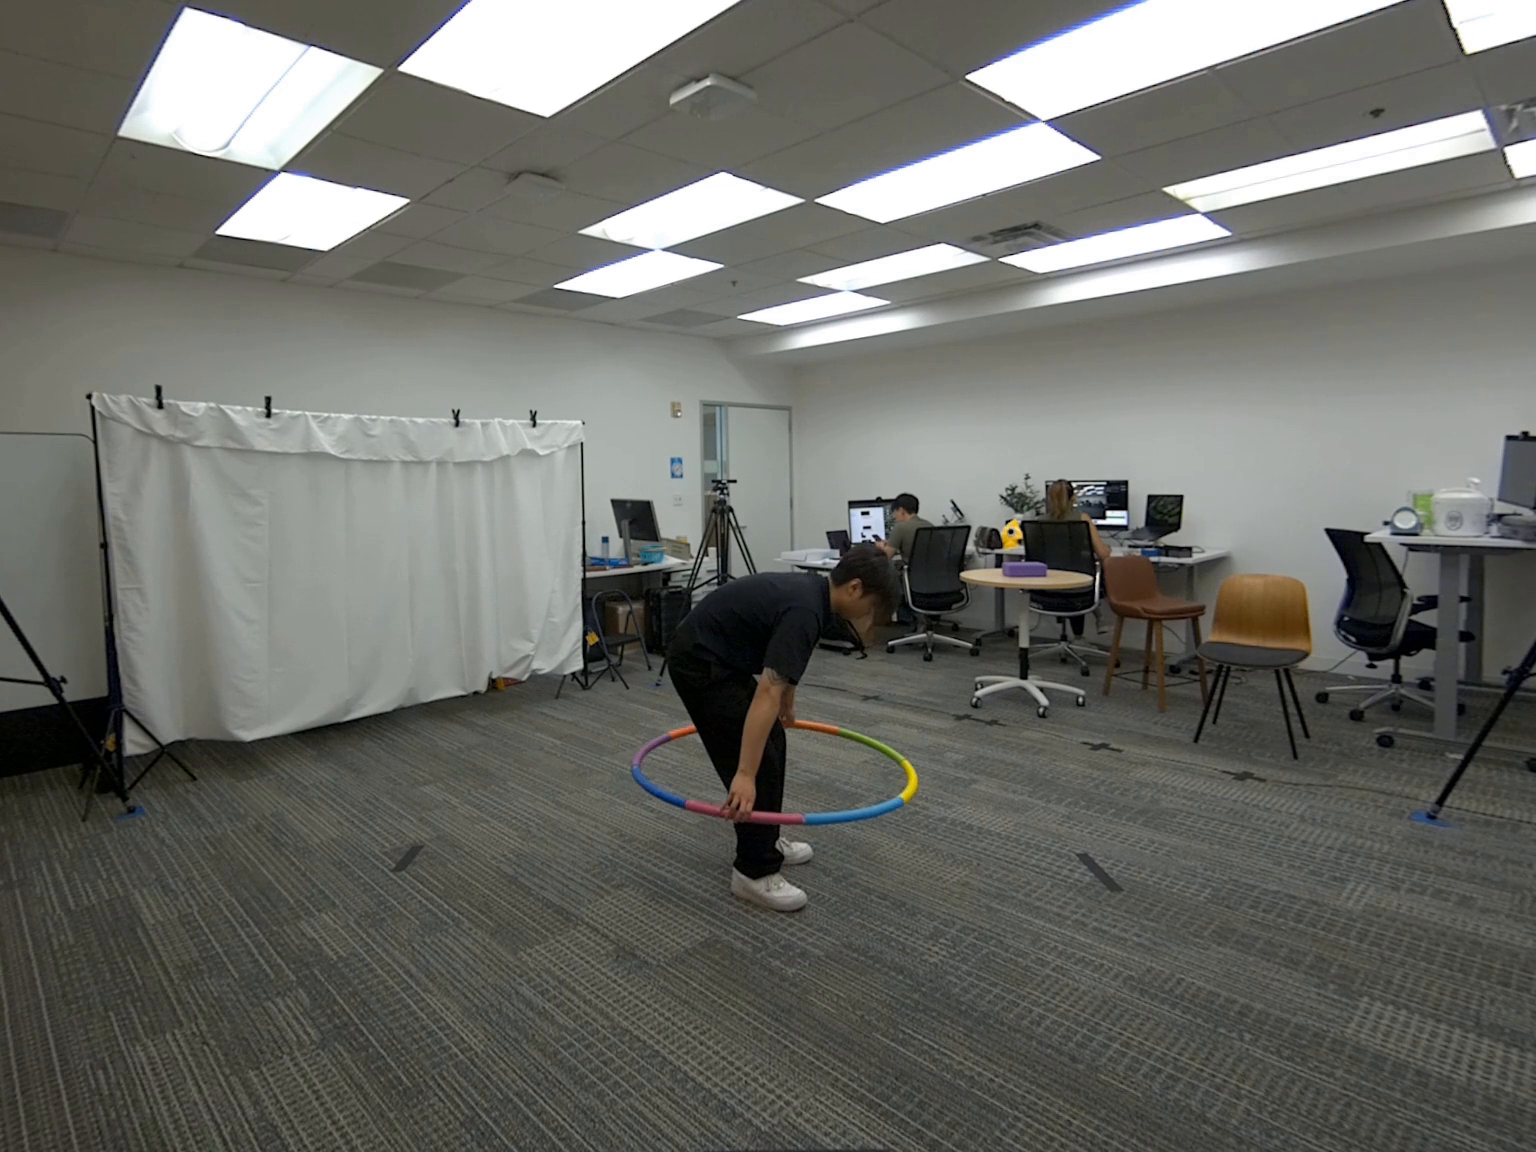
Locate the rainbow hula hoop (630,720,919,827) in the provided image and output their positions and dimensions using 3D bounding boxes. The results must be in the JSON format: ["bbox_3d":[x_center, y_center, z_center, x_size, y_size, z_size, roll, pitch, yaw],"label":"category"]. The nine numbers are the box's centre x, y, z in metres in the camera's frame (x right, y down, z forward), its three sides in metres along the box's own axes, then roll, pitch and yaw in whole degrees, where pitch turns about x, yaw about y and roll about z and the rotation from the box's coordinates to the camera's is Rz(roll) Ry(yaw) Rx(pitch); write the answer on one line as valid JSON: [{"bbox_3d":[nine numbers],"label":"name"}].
[{"bbox_3d":[0.011,0.656,2.999,0.978,0.035,0.985,1,7,-2],"label":"rainbow hula hoop"}]
